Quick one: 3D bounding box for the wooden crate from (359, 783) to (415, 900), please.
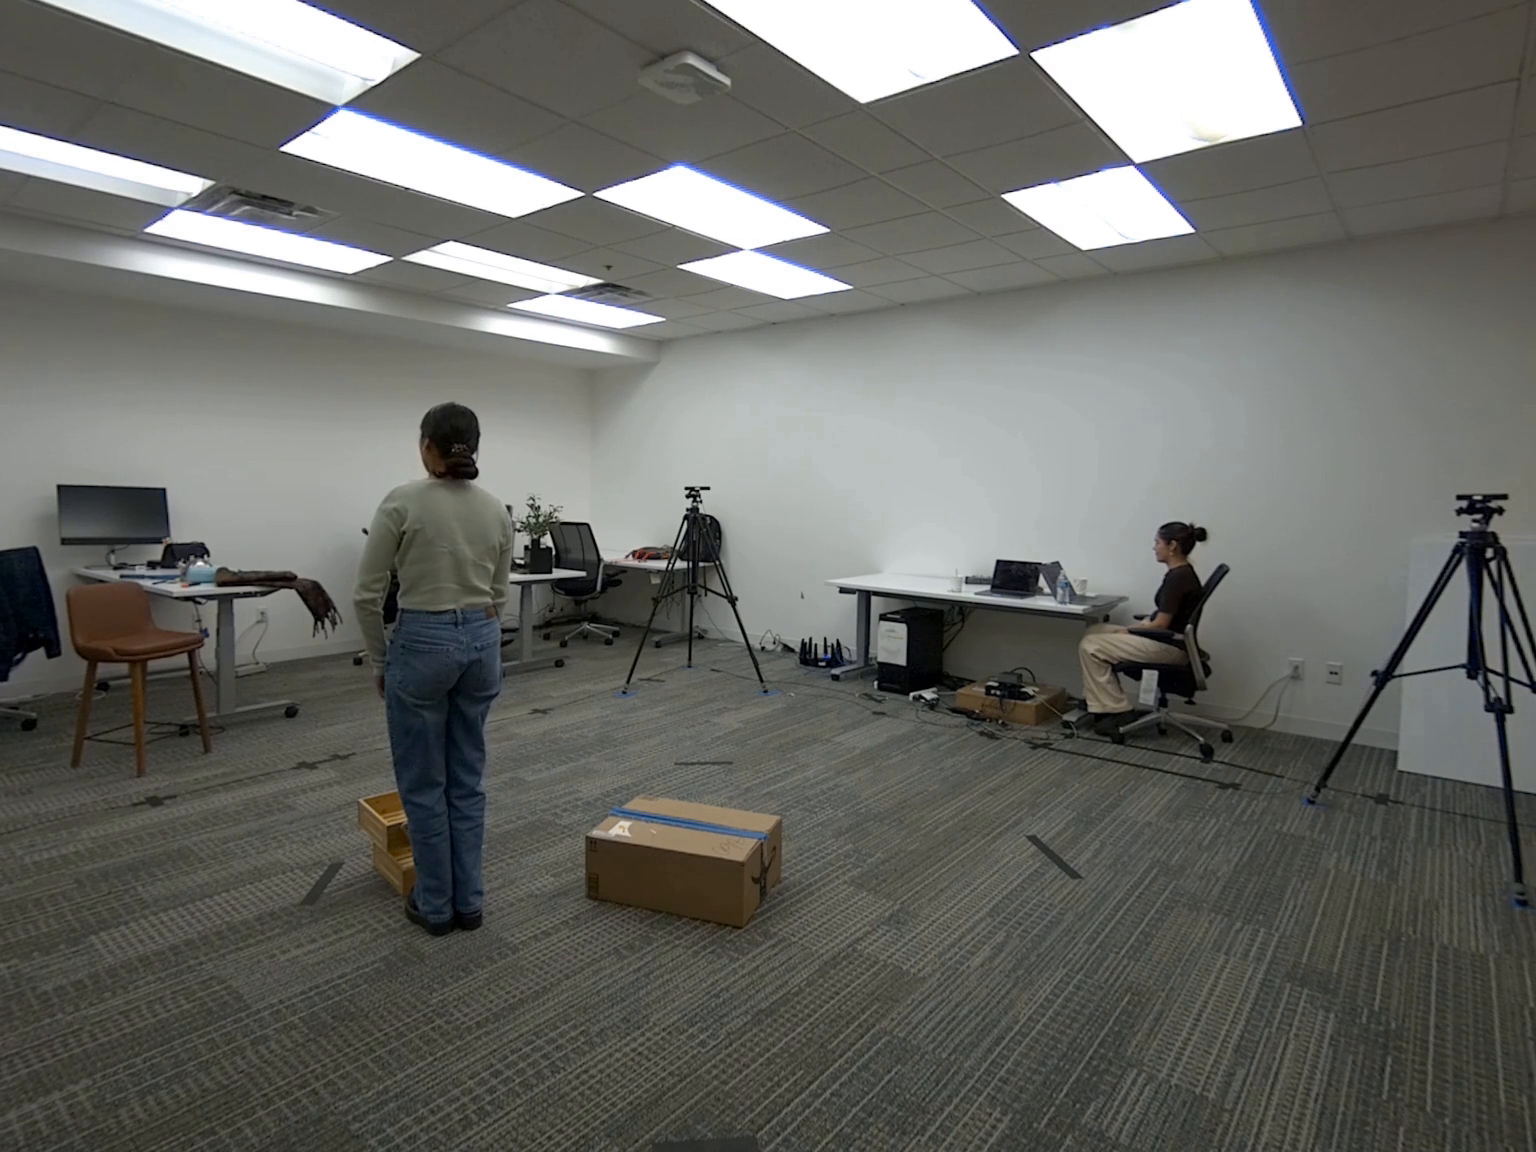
[{"bbox_3d":[-1.260,0.918,3.027,0.293,0.272,0.335,-5,7,-42],"label":"wooden crate"}]
